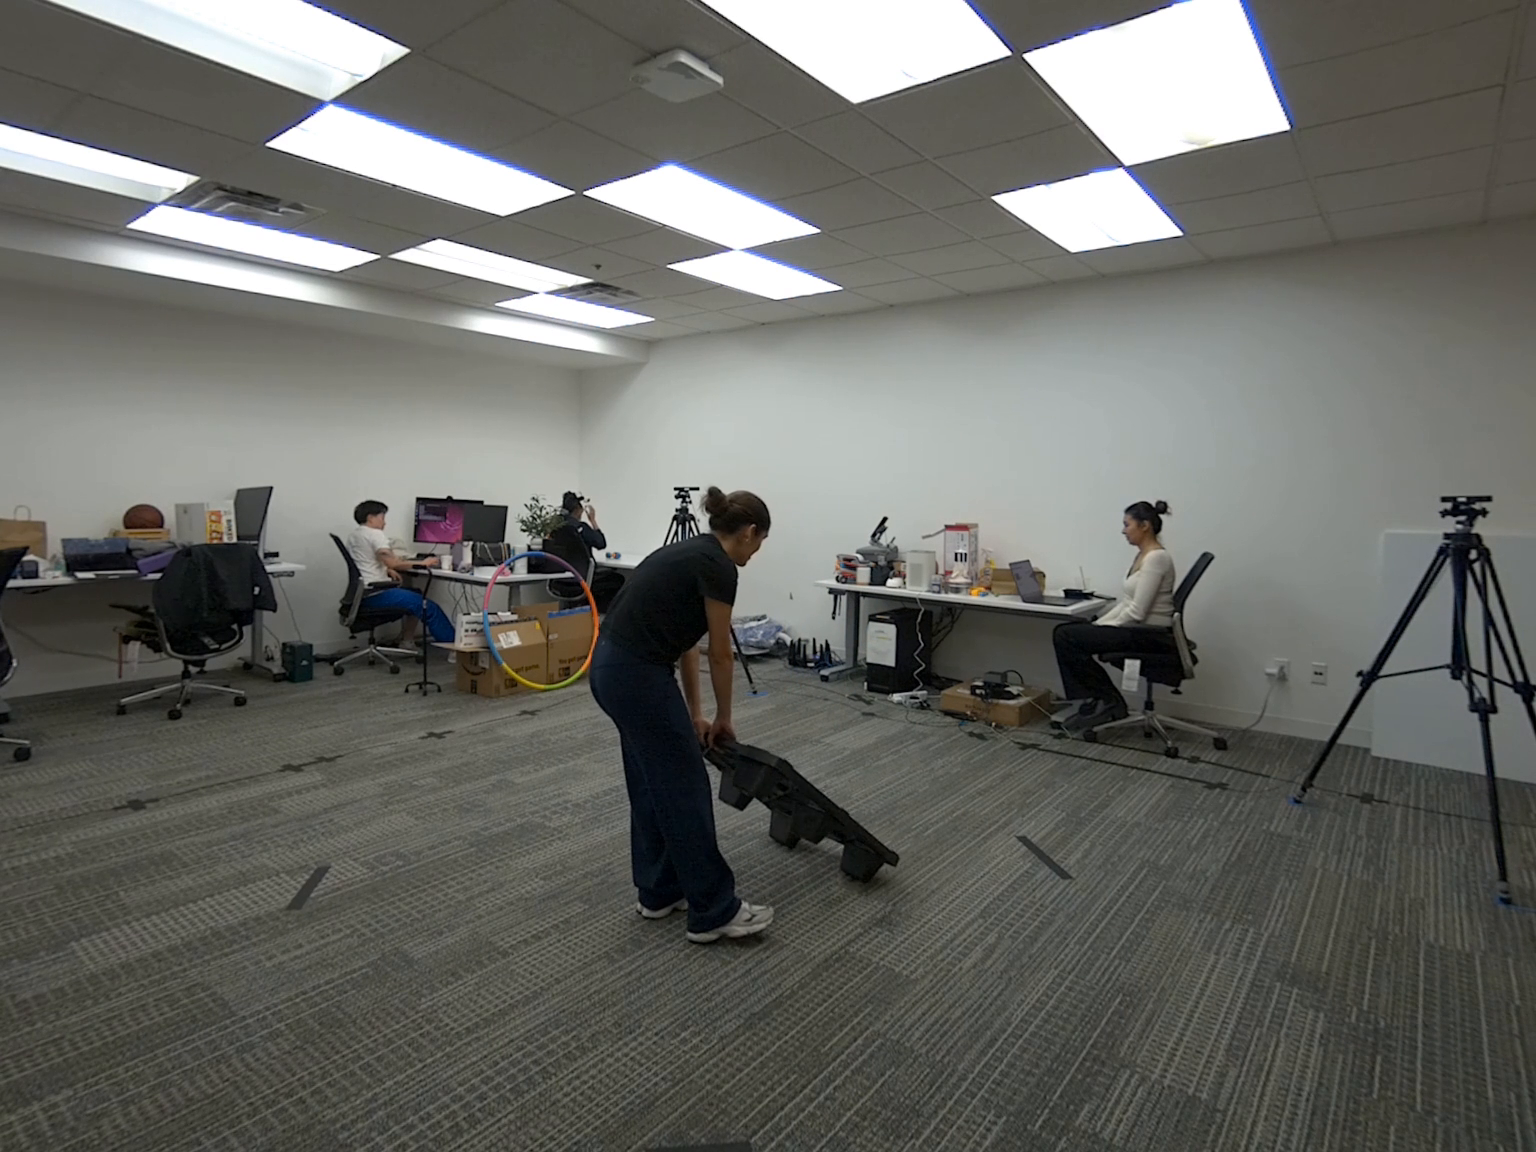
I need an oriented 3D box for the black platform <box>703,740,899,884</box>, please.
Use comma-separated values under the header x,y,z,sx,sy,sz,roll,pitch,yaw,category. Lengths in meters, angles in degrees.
x,y,z,sx,sy,sz,roll,pitch,yaw,category
0.033,0.798,3.028,0.626,0.144,0.775,5,-33,49,black platform
